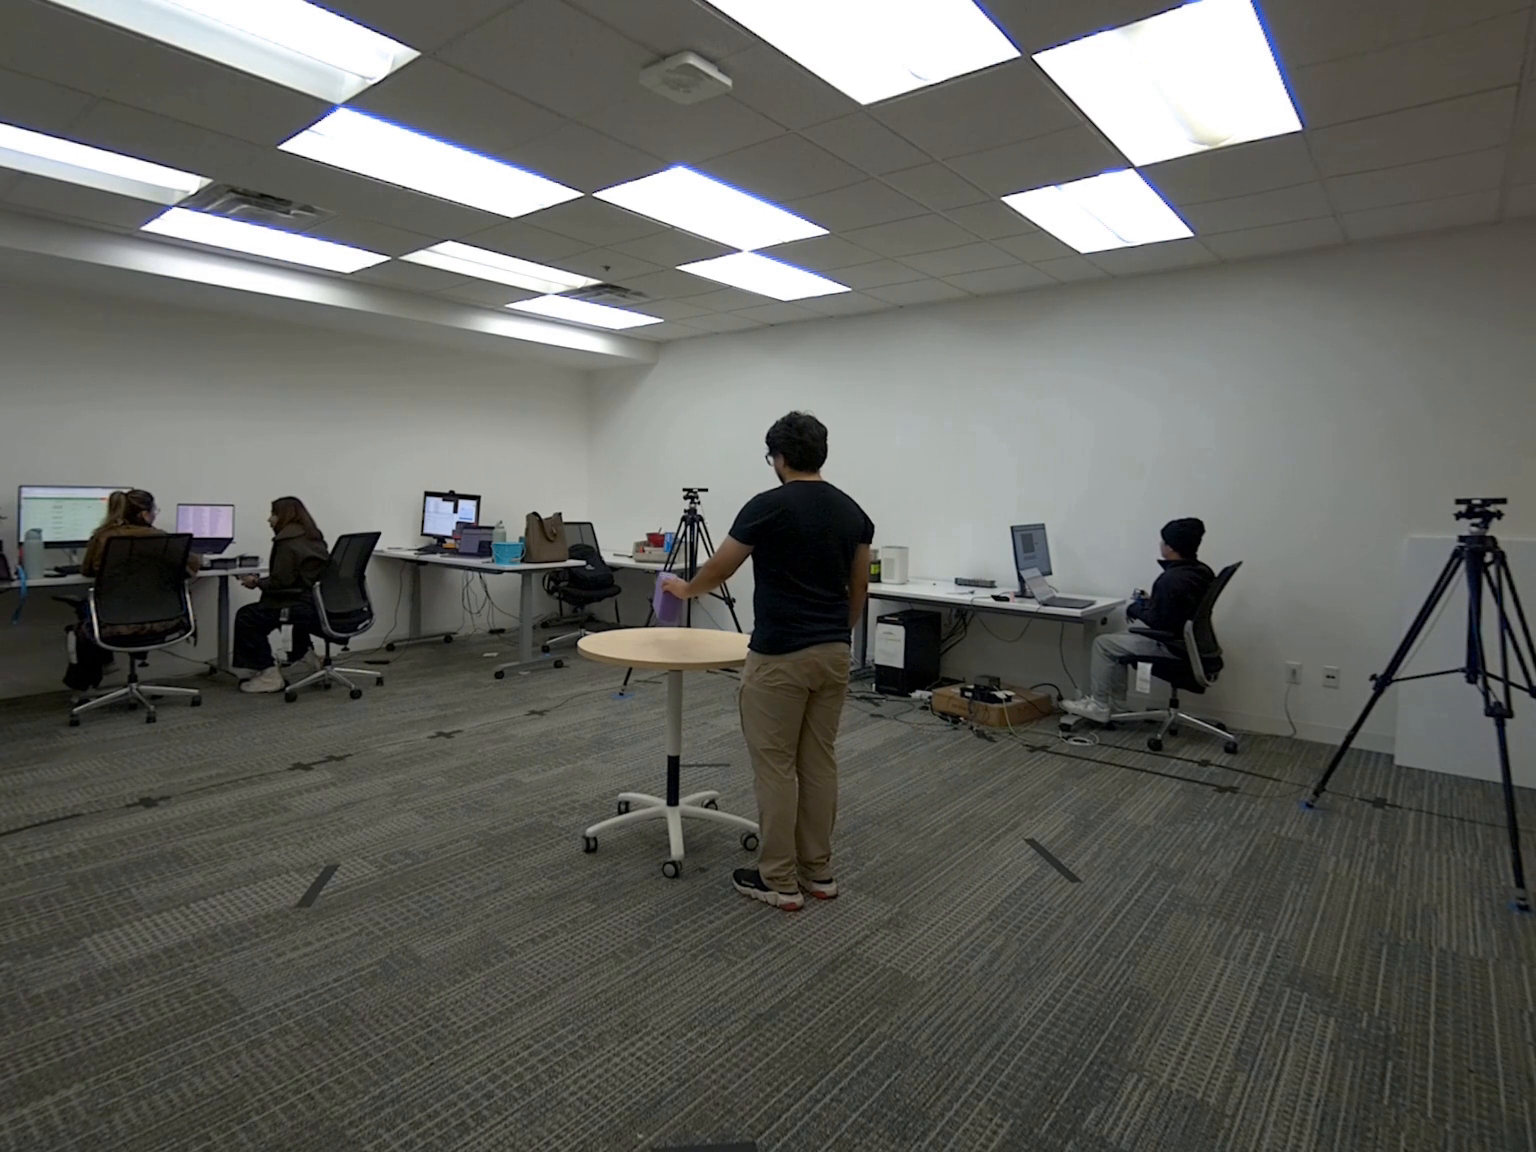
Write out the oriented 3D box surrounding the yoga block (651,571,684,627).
[{"bbox_3d":[-0.409,0.079,3.338,0.075,0.148,0.234,5,11,-12],"label":"yoga block"}]
